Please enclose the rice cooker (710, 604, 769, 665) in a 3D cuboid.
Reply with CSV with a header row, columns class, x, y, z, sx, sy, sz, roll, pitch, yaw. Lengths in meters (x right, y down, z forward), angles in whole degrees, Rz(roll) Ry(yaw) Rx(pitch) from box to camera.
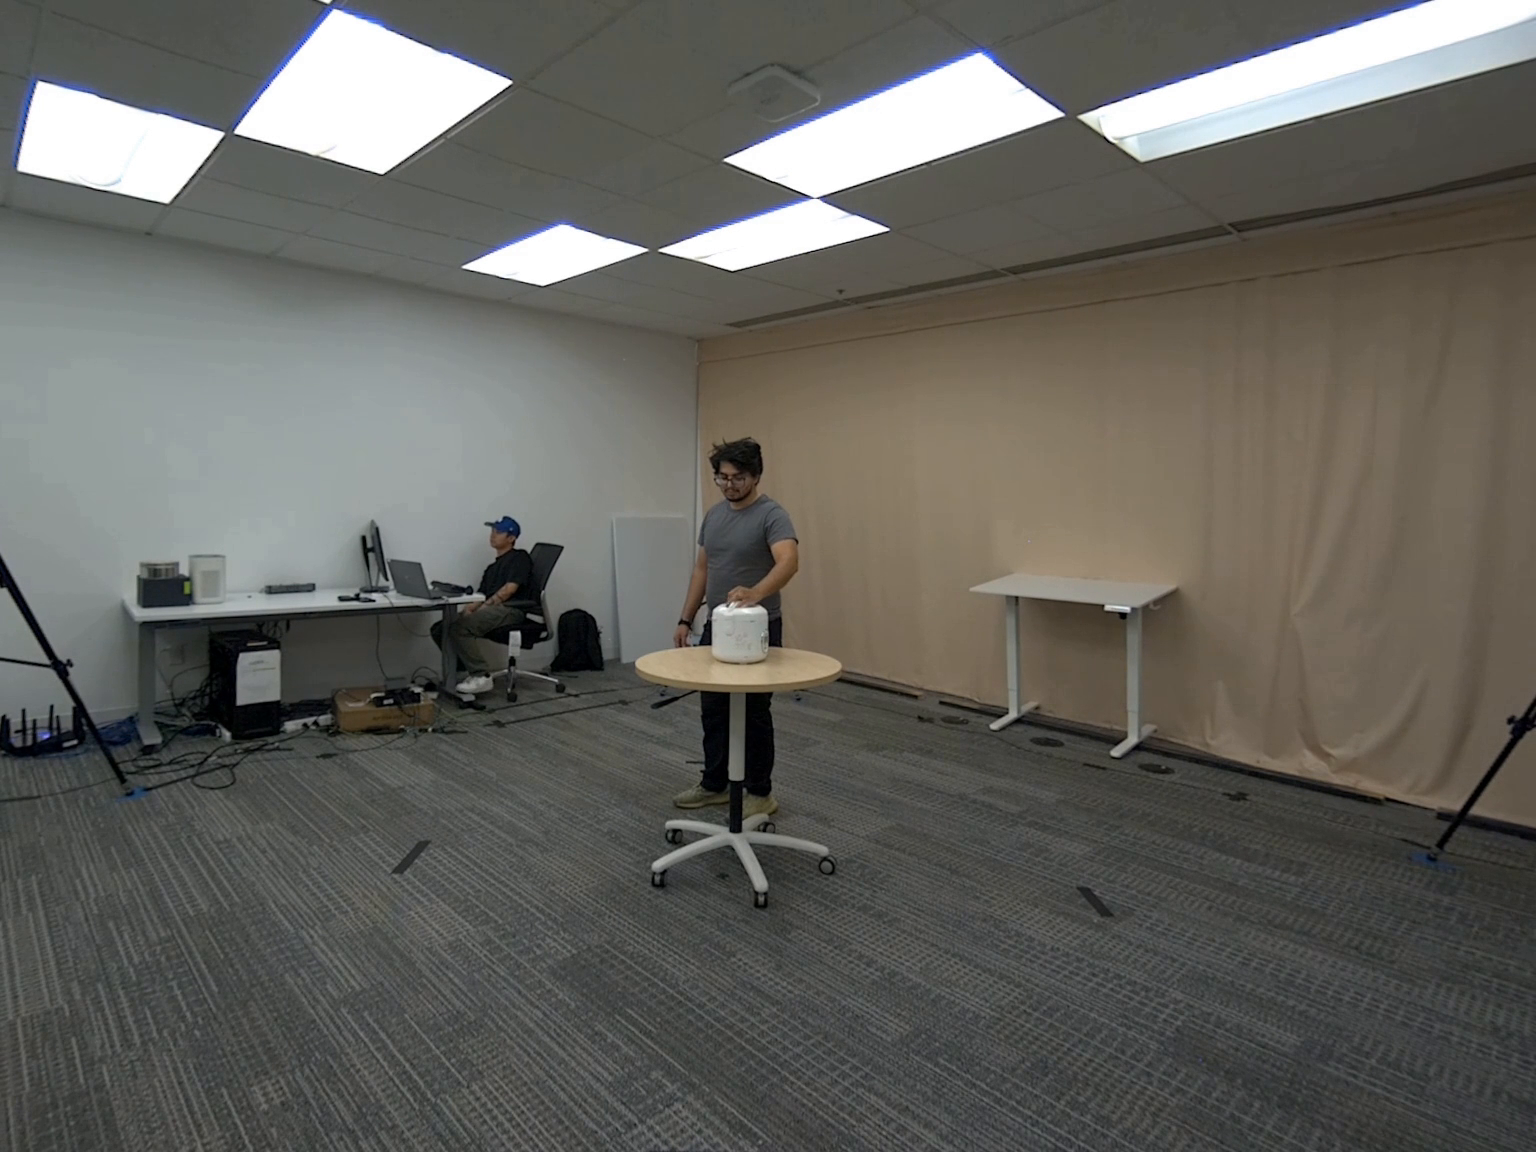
class,x,y,z,sx,sy,sz,roll,pitch,yaw
rice cooker,-0.115,0.202,3.185,0.221,0.232,0.217,2,4,24
